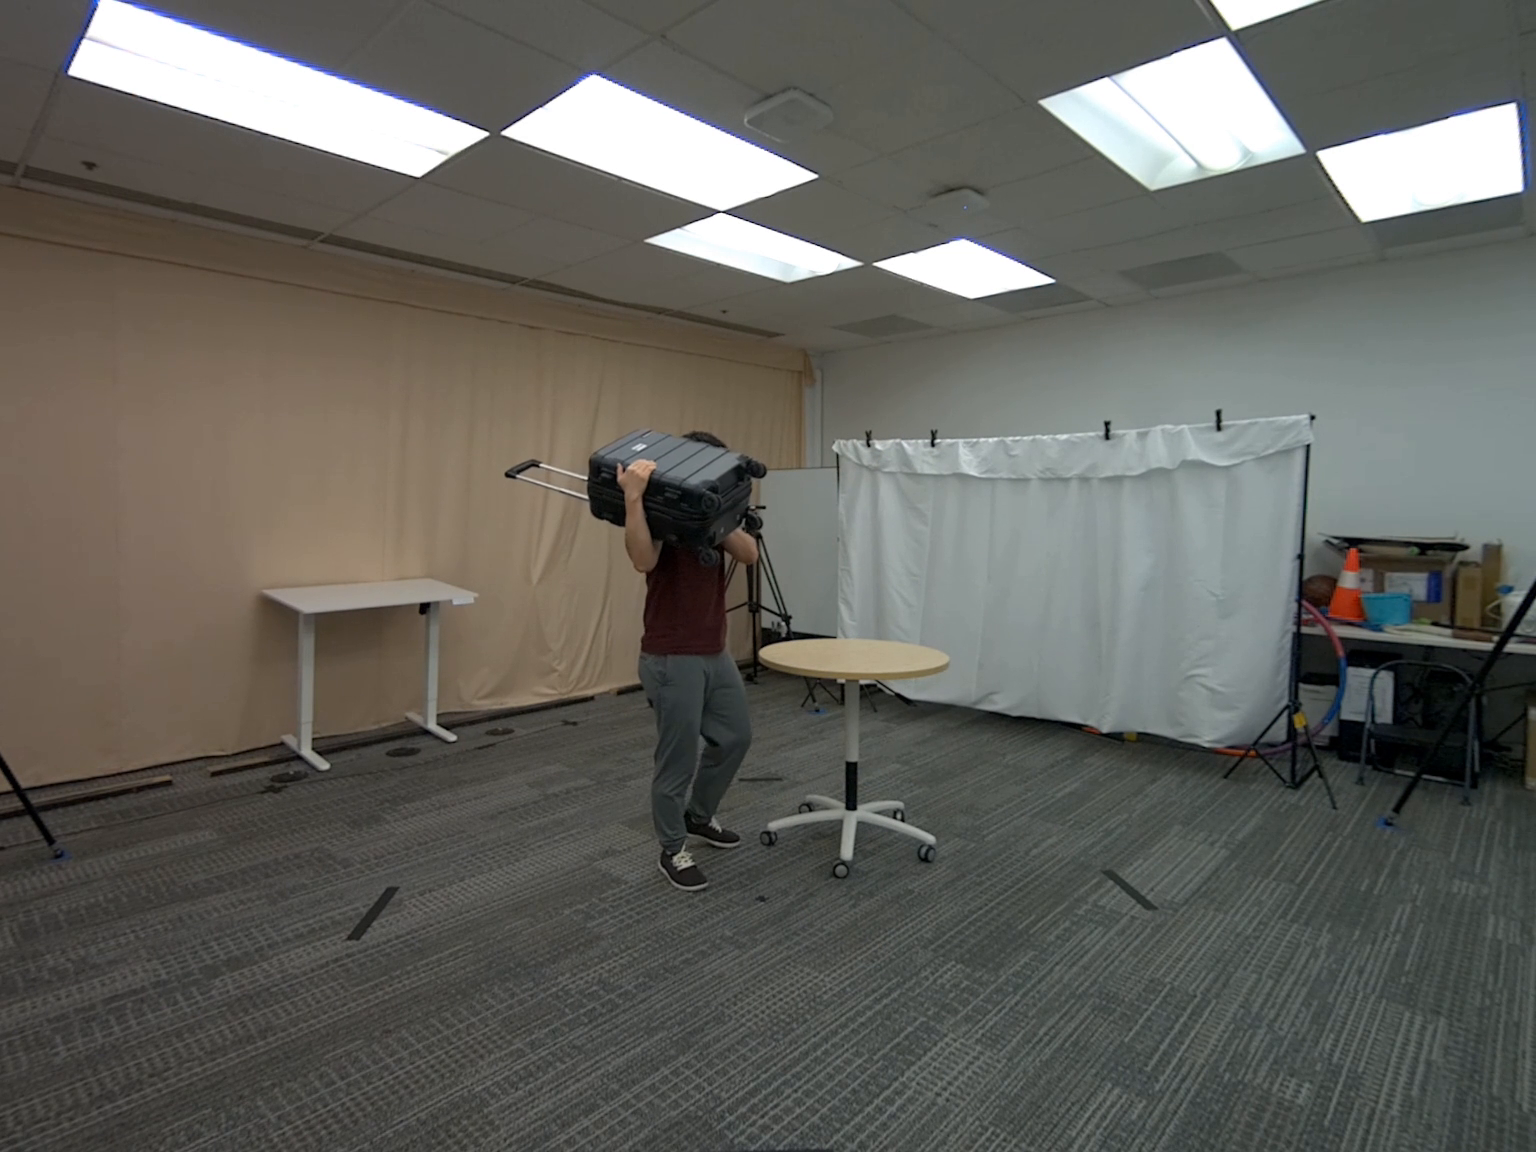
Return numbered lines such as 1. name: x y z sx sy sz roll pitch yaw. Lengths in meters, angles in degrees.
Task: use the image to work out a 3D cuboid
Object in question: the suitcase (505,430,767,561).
1. suitcase: -0.500 -0.367 2.962 1.006 0.253 0.379 21 35 24
